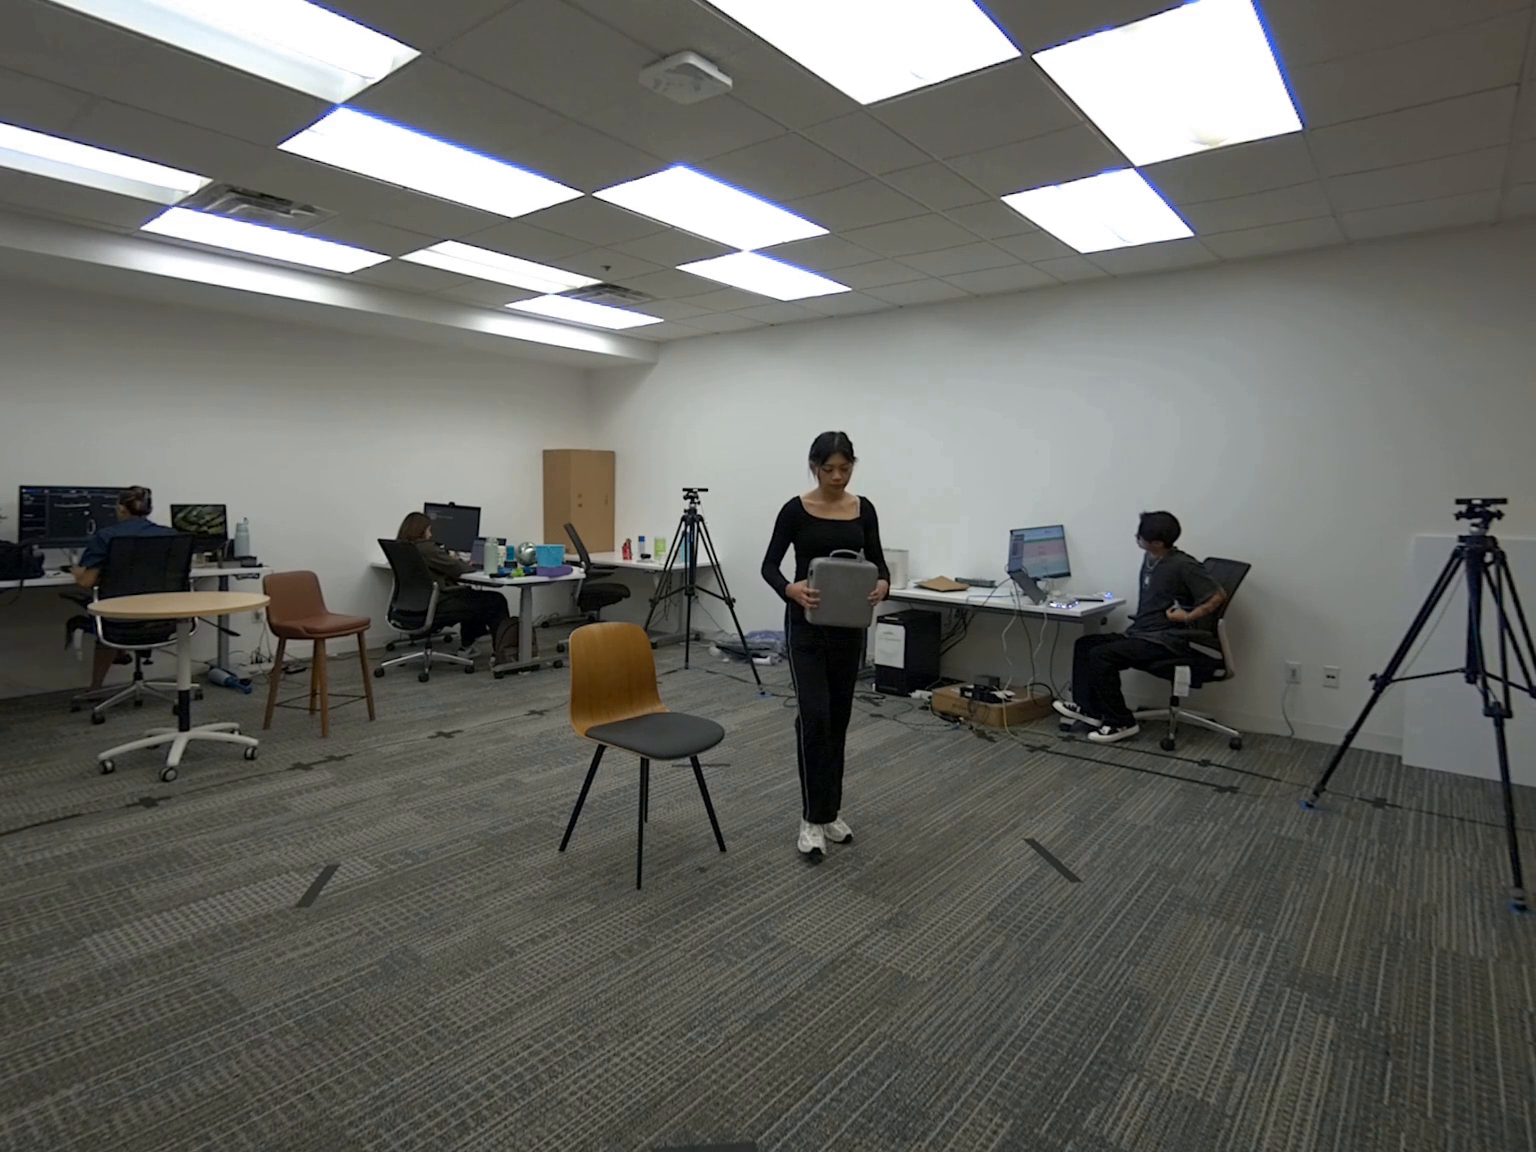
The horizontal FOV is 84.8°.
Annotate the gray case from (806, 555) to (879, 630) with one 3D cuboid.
[{"bbox_3d":[0.288,0.054,3.235,0.254,0.259,0.106,5,8,-8],"label":"gray case"}]
